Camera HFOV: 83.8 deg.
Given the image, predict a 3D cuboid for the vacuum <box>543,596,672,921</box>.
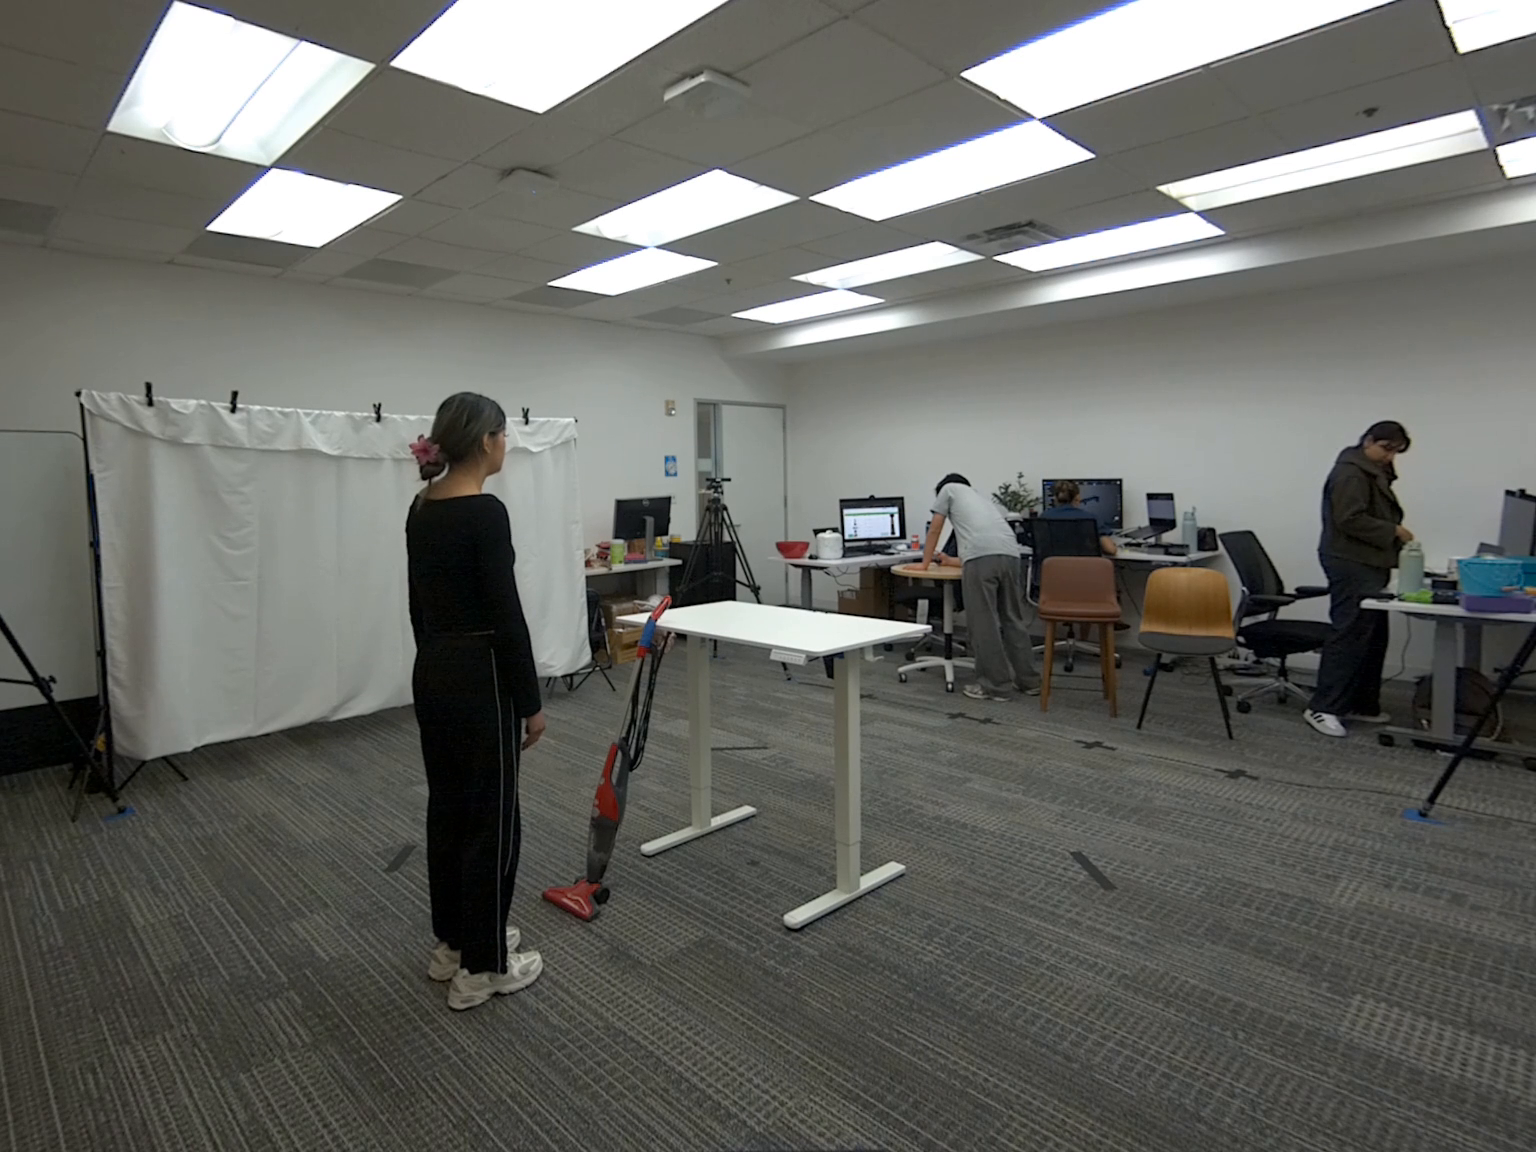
[{"bbox_3d":[-0.497,0.587,2.958,0.260,1.059,0.138,0,-20,44],"label":"vacuum"}]
